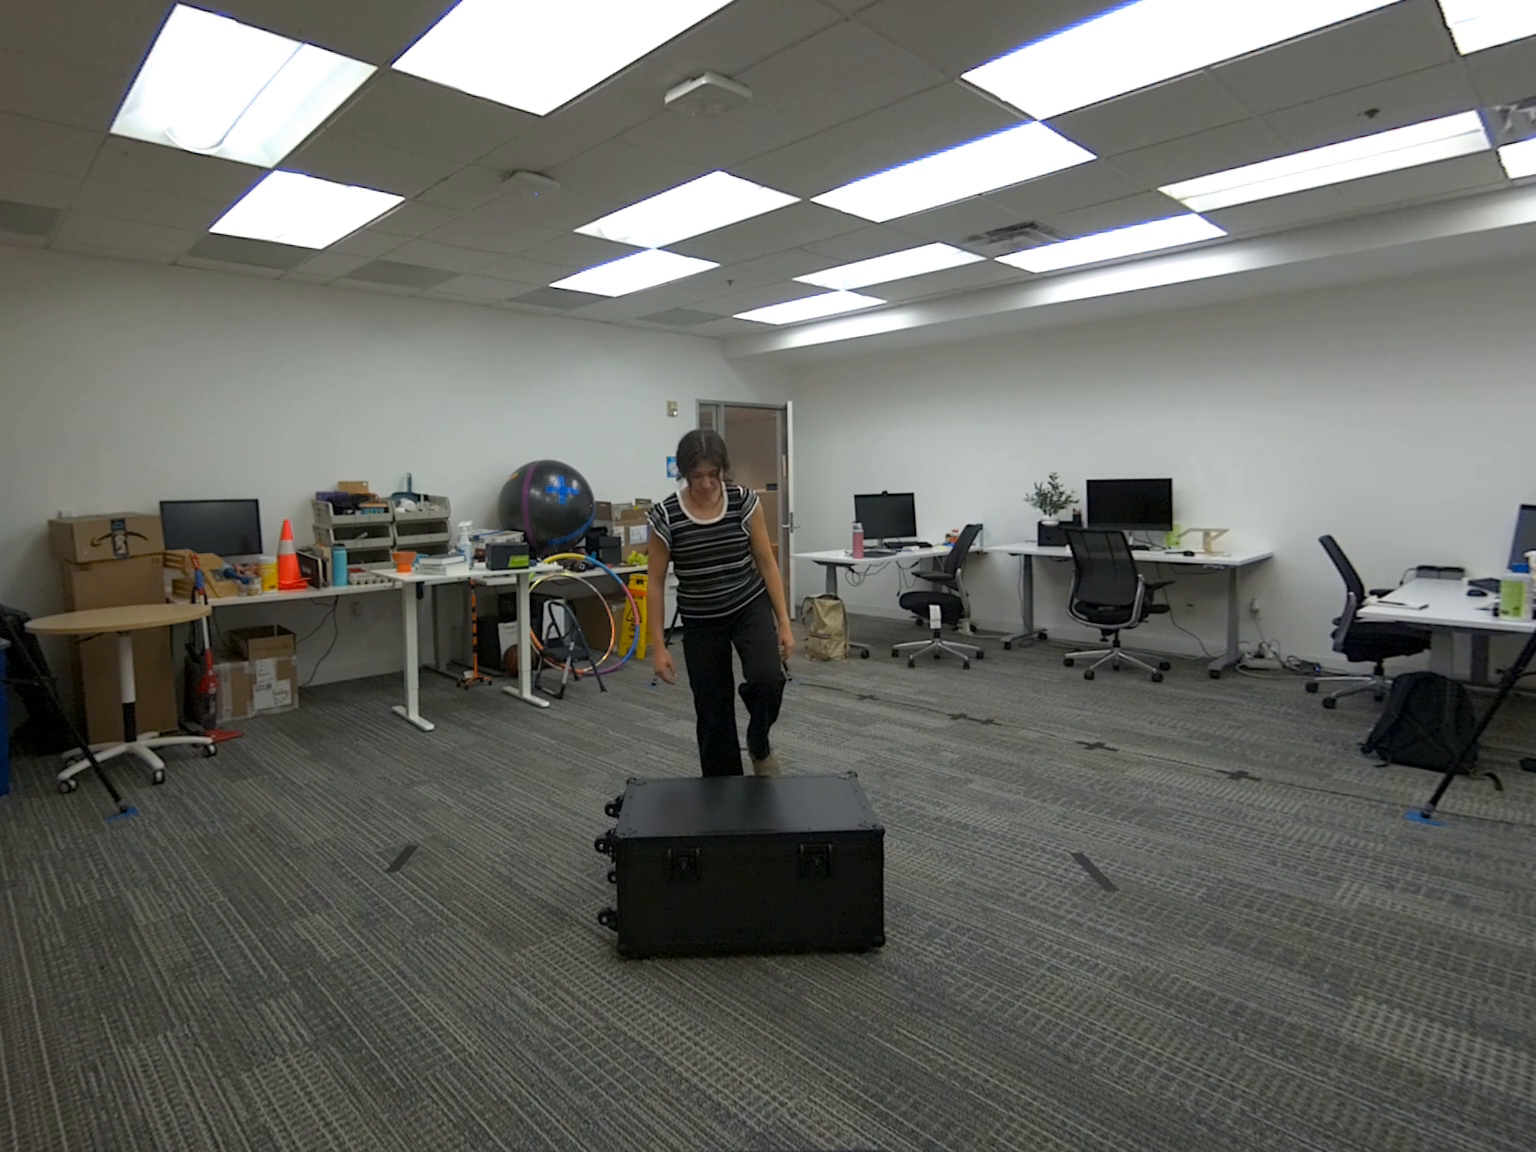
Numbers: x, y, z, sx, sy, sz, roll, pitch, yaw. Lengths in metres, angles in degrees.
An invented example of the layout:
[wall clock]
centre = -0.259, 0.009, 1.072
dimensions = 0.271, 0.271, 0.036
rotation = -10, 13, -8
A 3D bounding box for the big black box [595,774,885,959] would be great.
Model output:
[big black box]
centre = -0.099, 0.898, 2.717
dimensions = 0.860, 0.395, 0.524
rotation = -1, 5, -2
